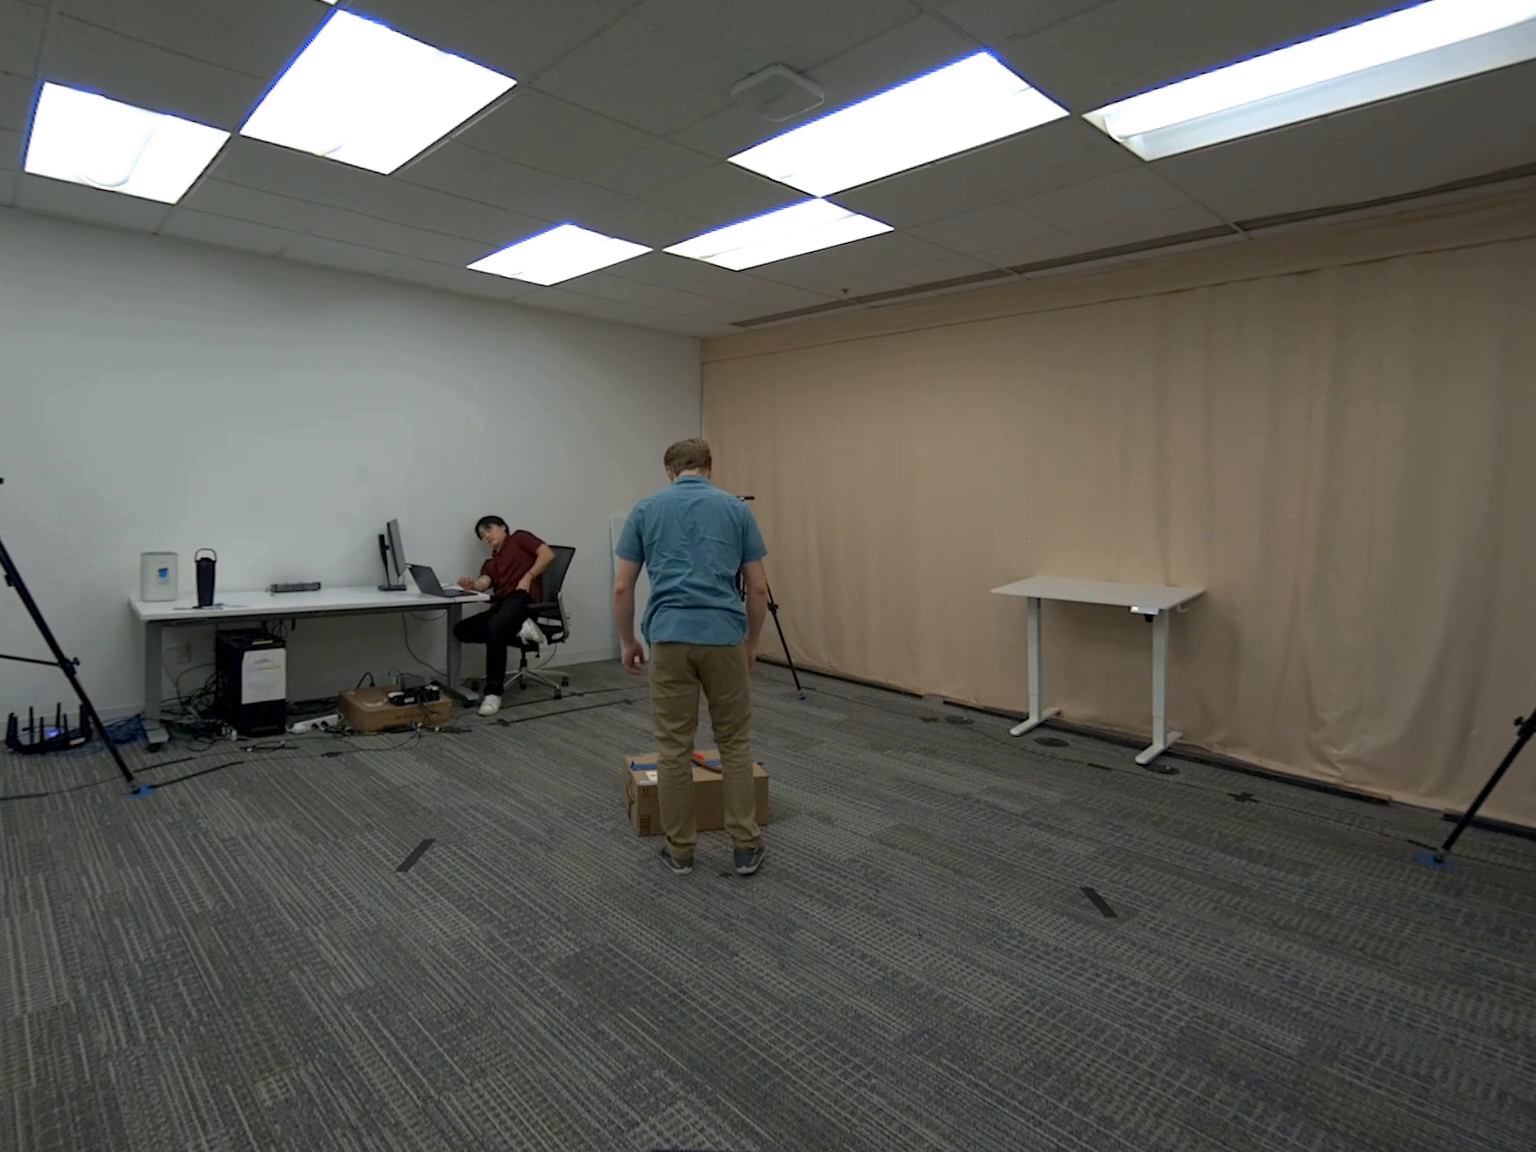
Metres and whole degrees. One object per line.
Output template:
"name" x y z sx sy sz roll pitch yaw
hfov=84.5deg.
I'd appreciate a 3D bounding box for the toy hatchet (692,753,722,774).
"toy hatchet" -0.278 0.822 3.724 0.277 0.029 0.127 8 0 40
